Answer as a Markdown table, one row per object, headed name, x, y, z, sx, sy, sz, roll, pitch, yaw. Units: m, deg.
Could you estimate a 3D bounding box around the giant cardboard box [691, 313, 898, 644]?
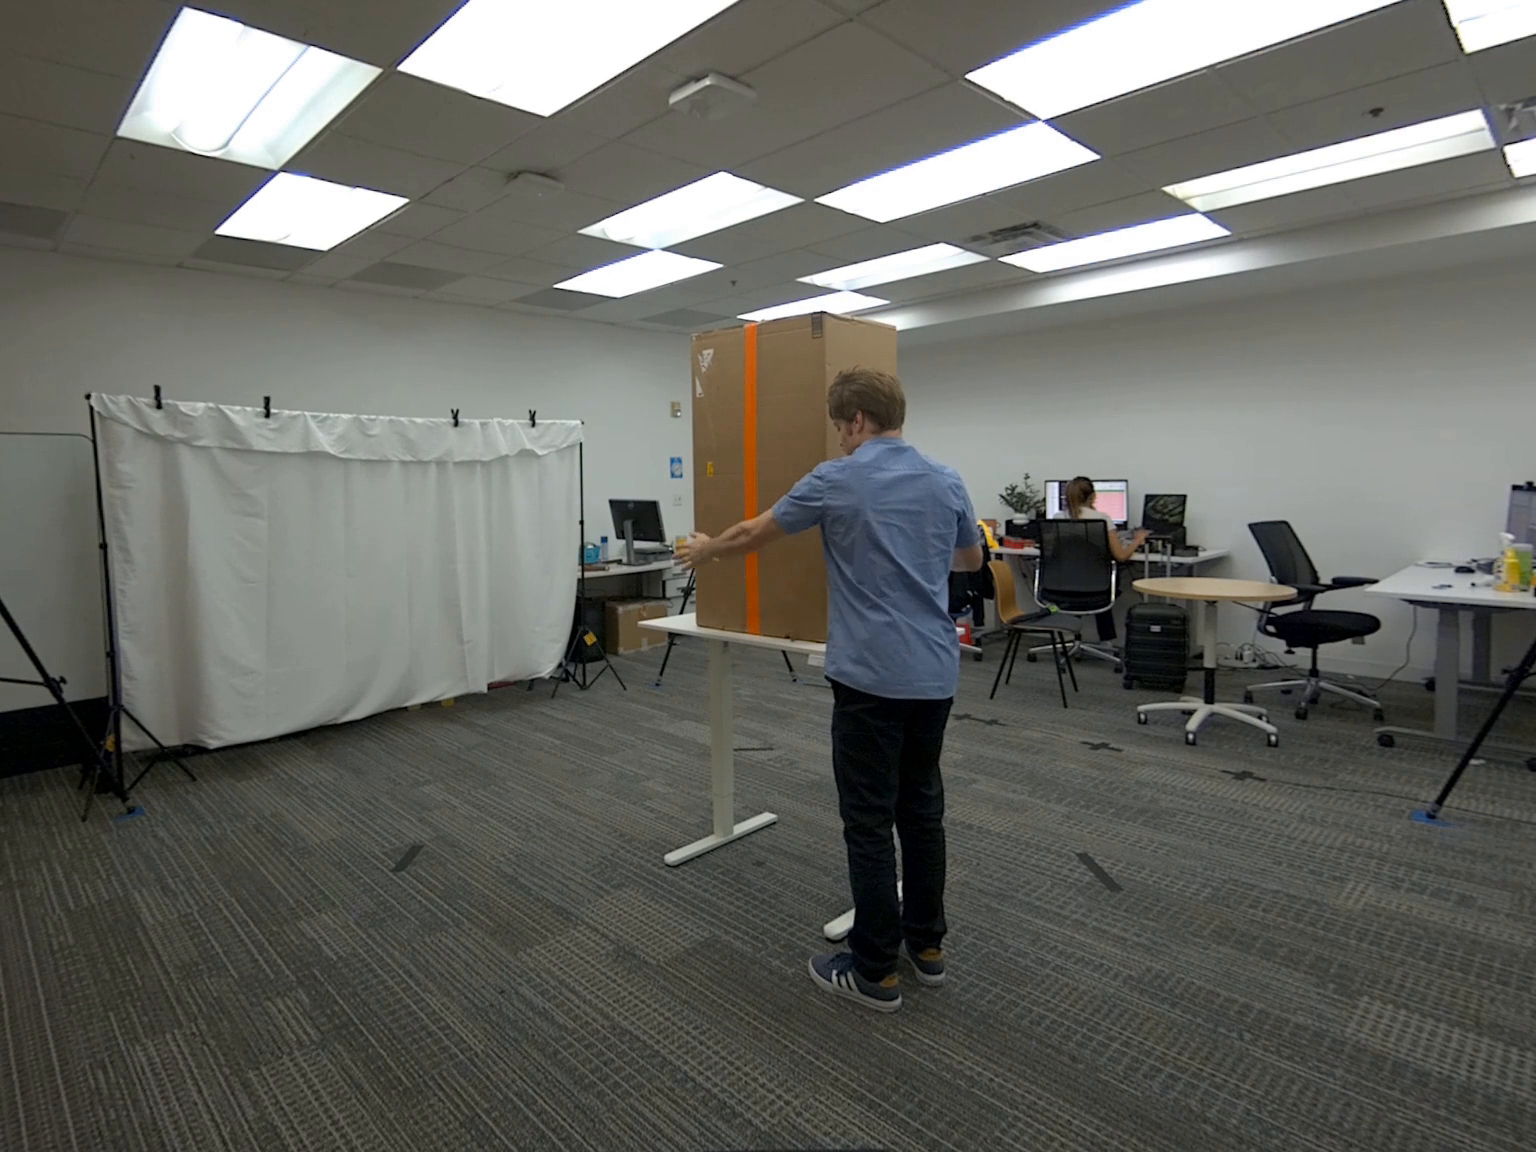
| name | x | y | z | sx | sy | sz | roll | pitch | yaw |
| --- | --- | --- | --- | --- | --- | --- | --- | --- | --- |
| giant cardboard box | 0.090 | -0.329 | 2.951 | 0.595 | 1.022 | 0.415 | 3 | 5 | 42 |
